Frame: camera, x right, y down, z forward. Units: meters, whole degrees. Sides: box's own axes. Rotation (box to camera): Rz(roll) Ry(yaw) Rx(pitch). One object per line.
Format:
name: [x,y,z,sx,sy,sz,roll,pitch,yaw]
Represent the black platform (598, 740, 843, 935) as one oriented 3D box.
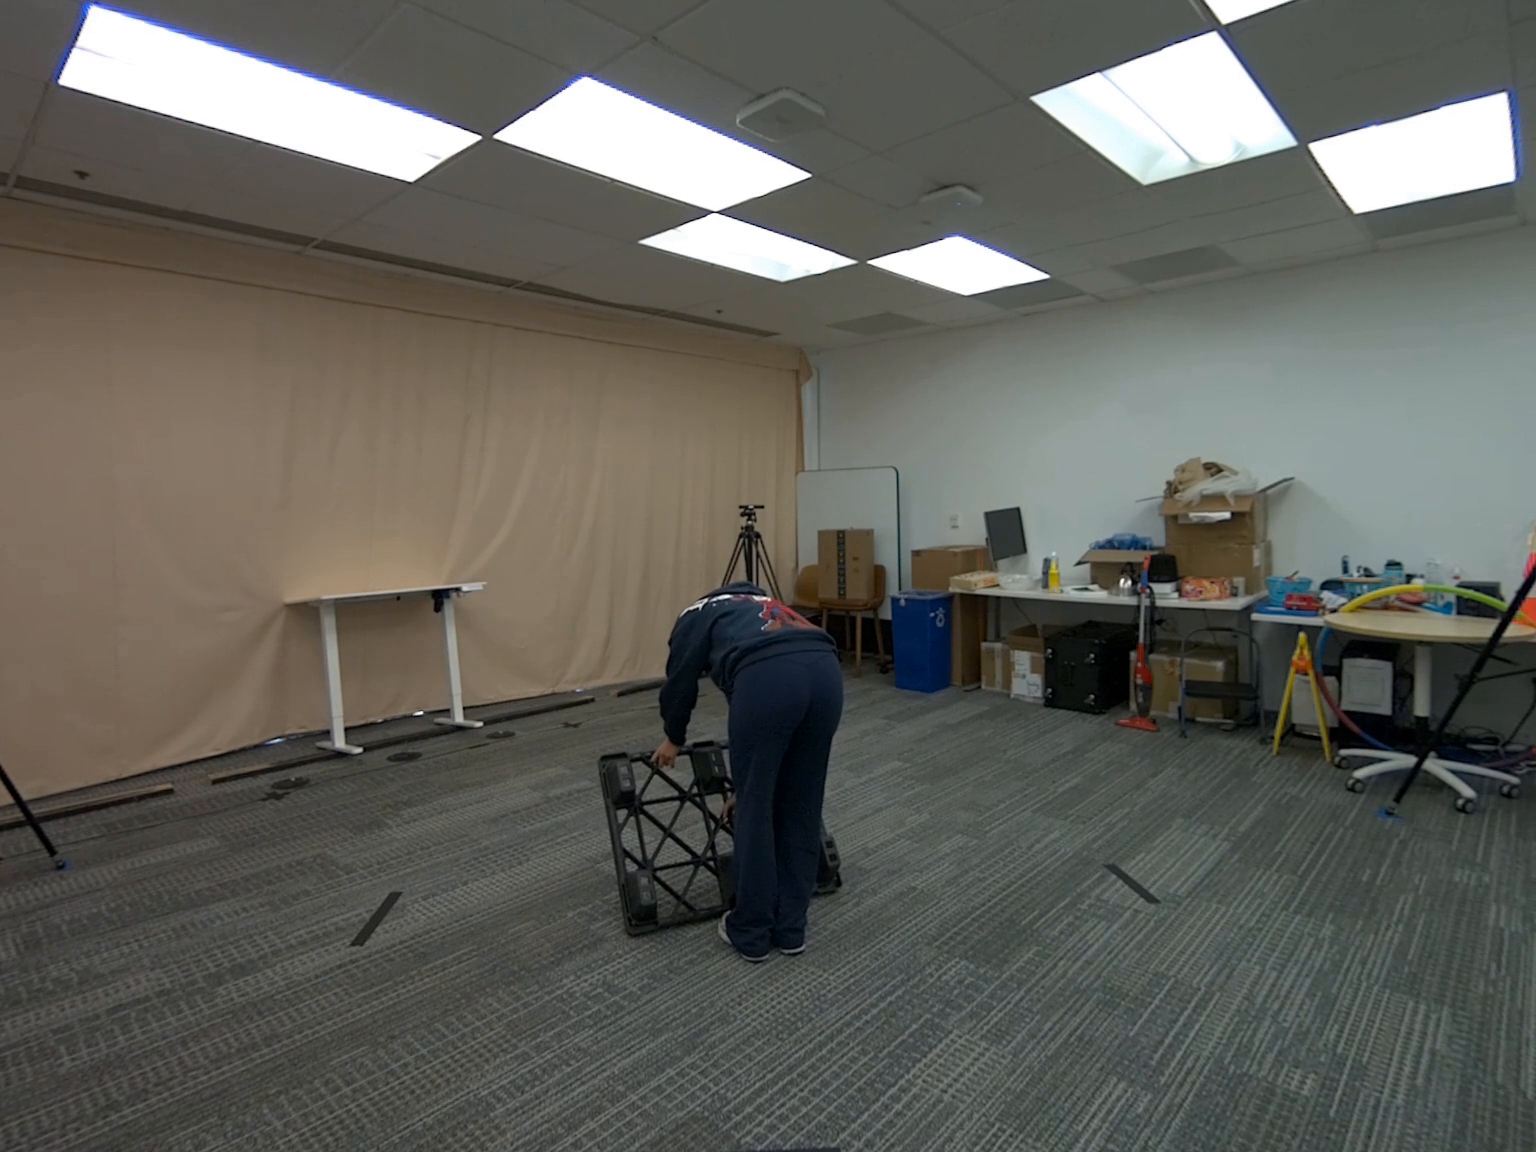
black platform: [-0.158,0.865,2.976,0.788,0.619,0.143,-4,-31,-22]
